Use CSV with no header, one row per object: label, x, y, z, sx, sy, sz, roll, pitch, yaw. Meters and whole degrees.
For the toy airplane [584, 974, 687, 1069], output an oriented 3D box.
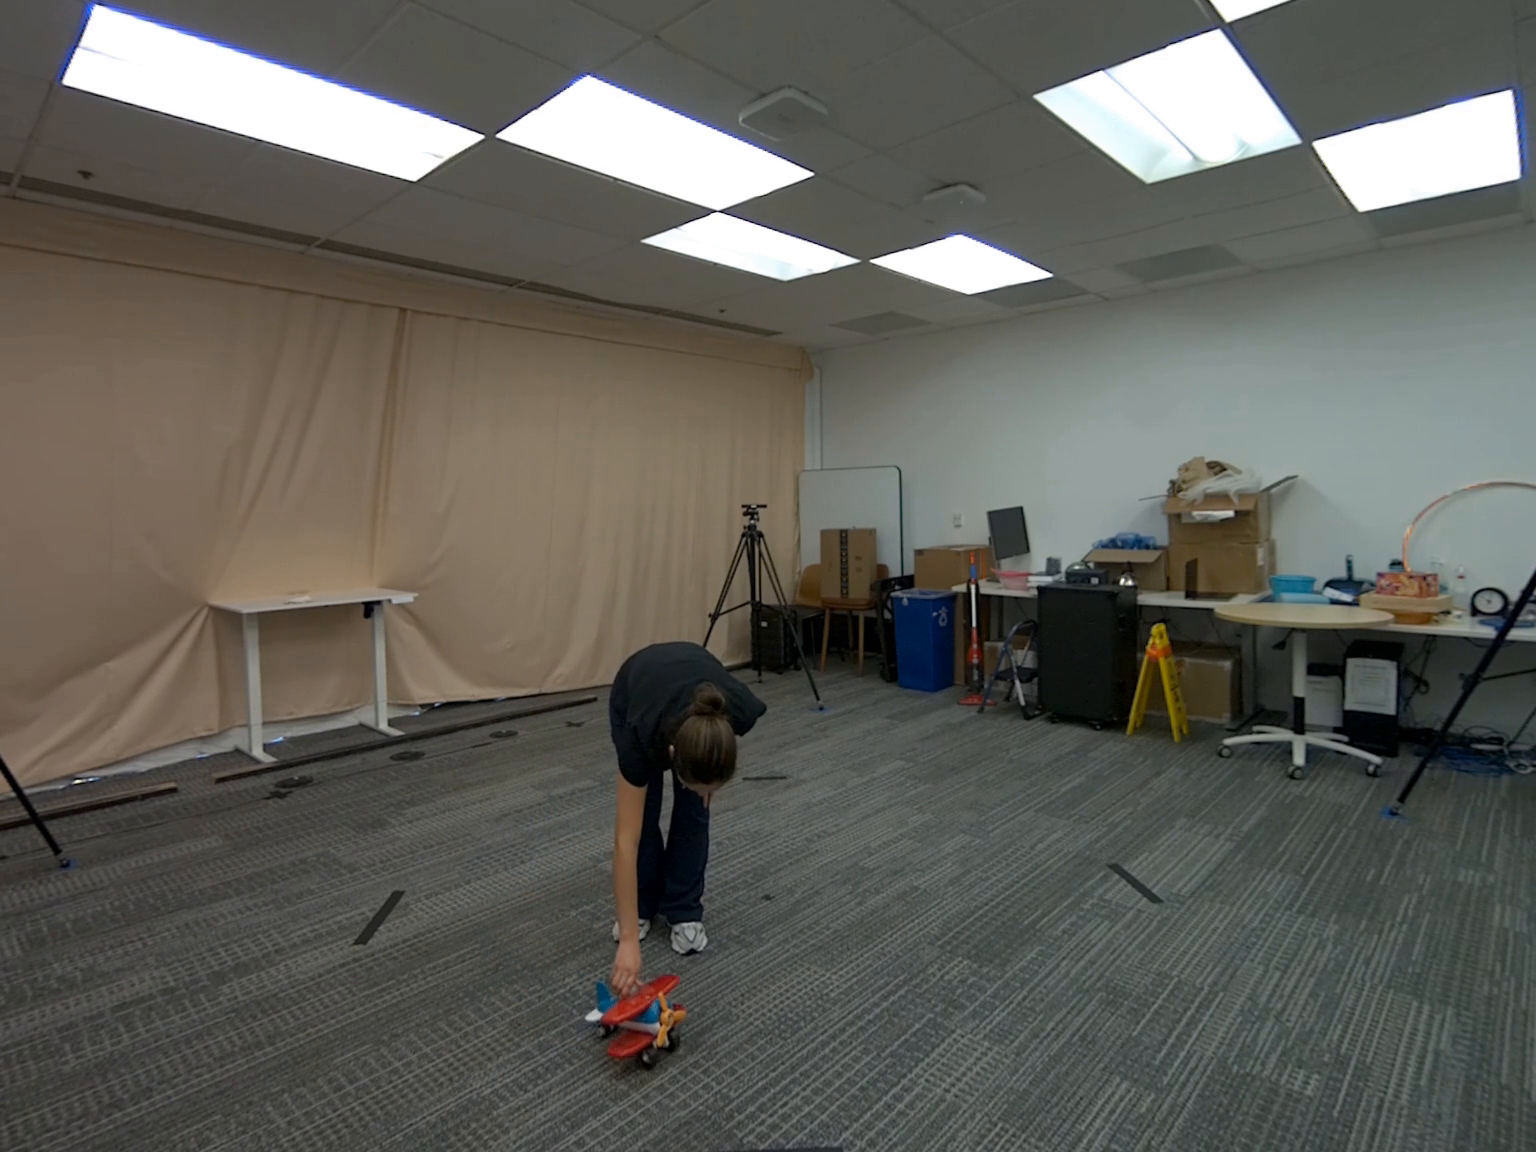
toy airplane,-0.355,1.138,2.160,0.262,0.156,0.249,2,3,8
